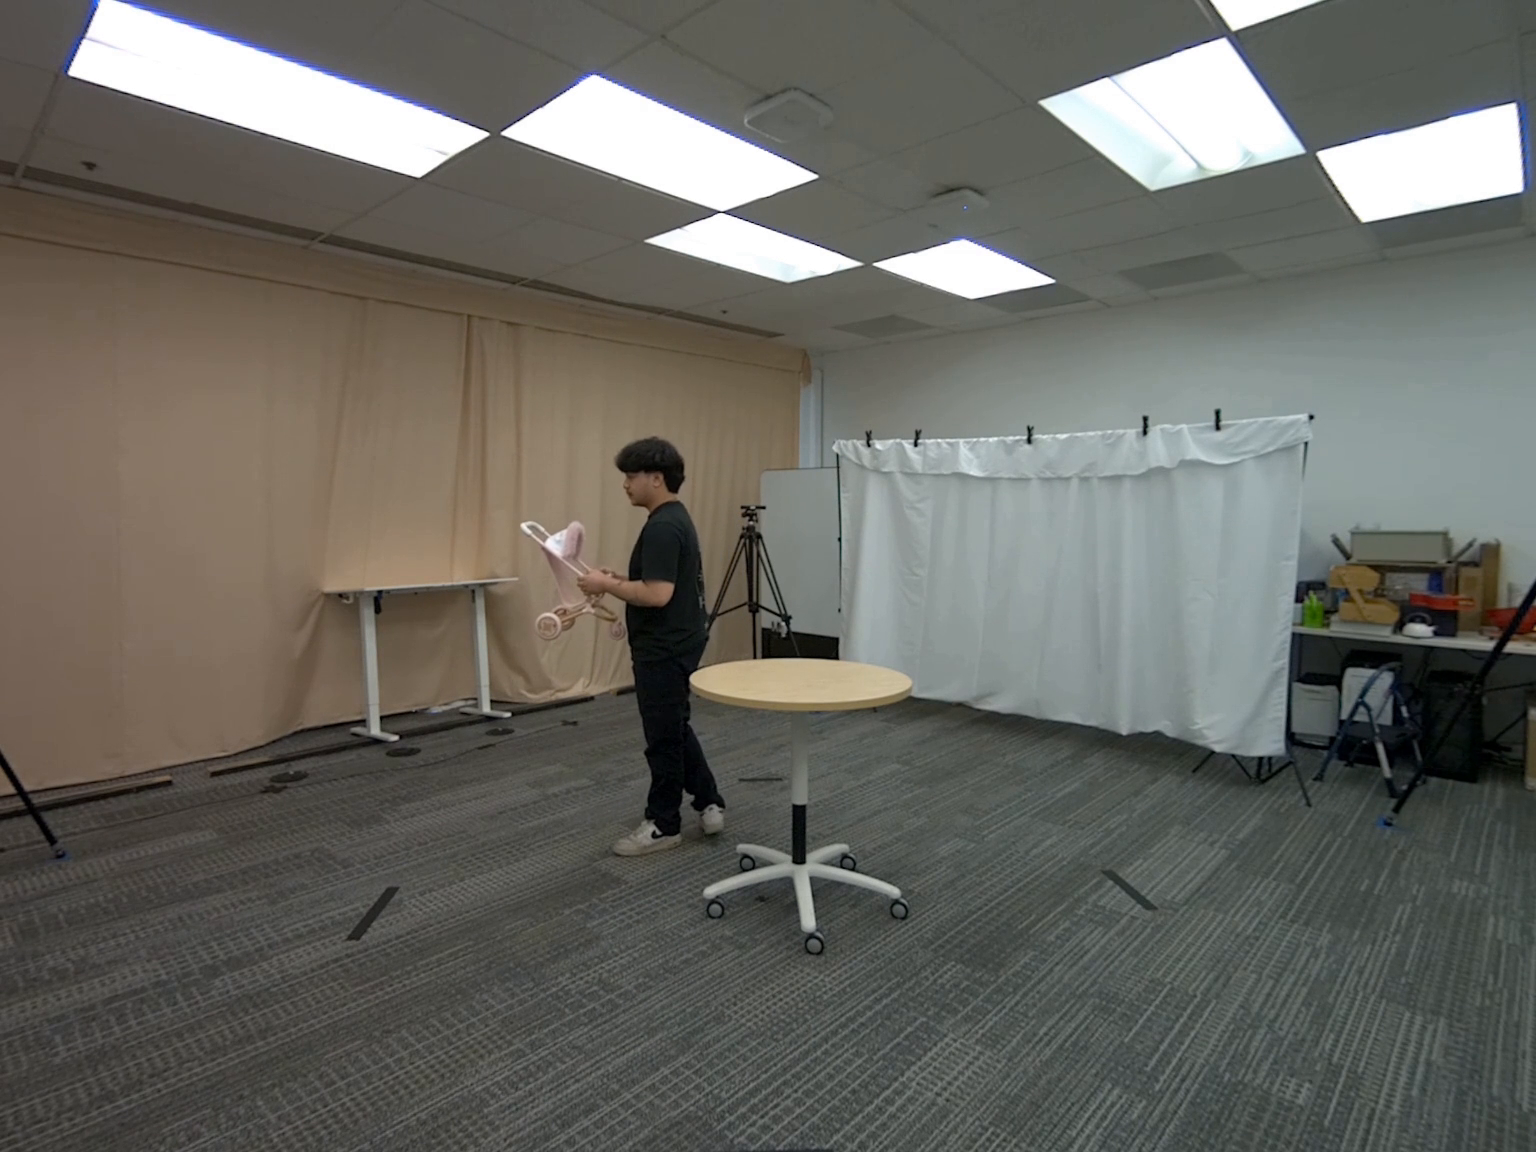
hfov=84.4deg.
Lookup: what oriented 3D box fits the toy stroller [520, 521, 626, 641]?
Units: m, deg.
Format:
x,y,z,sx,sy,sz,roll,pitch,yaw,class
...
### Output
x,y,z,sx,sy,sz,roll,pitch,yaw,class
-0.787,0.023,3.438,0.344,0.534,0.280,-9,2,6,toy stroller
